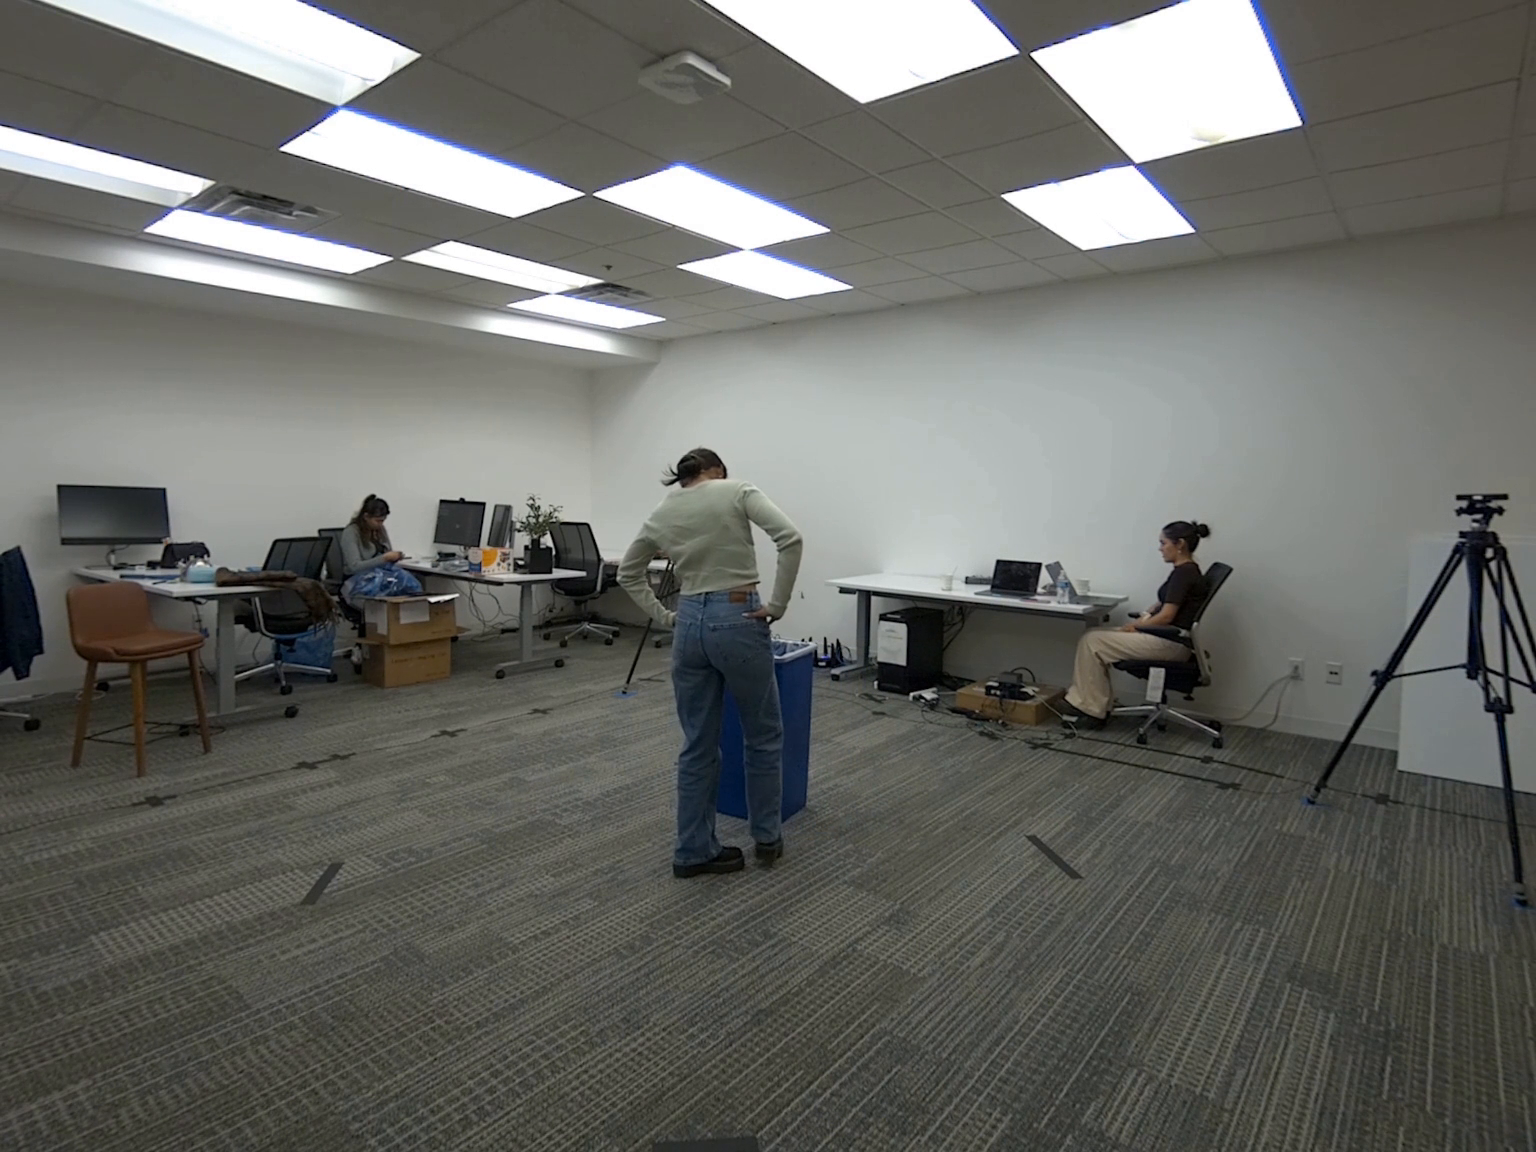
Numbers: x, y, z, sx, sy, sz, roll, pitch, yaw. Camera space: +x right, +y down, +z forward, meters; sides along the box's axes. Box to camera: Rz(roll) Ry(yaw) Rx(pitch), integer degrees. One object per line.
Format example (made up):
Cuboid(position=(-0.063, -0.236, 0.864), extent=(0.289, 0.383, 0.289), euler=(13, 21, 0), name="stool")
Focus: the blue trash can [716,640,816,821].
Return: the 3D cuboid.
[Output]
Cuboid(position=(-0.039, 0.654, 3.687), extent=(0.385, 0.711, 0.368), euler=(3, 4, 30), name="blue trash can")
